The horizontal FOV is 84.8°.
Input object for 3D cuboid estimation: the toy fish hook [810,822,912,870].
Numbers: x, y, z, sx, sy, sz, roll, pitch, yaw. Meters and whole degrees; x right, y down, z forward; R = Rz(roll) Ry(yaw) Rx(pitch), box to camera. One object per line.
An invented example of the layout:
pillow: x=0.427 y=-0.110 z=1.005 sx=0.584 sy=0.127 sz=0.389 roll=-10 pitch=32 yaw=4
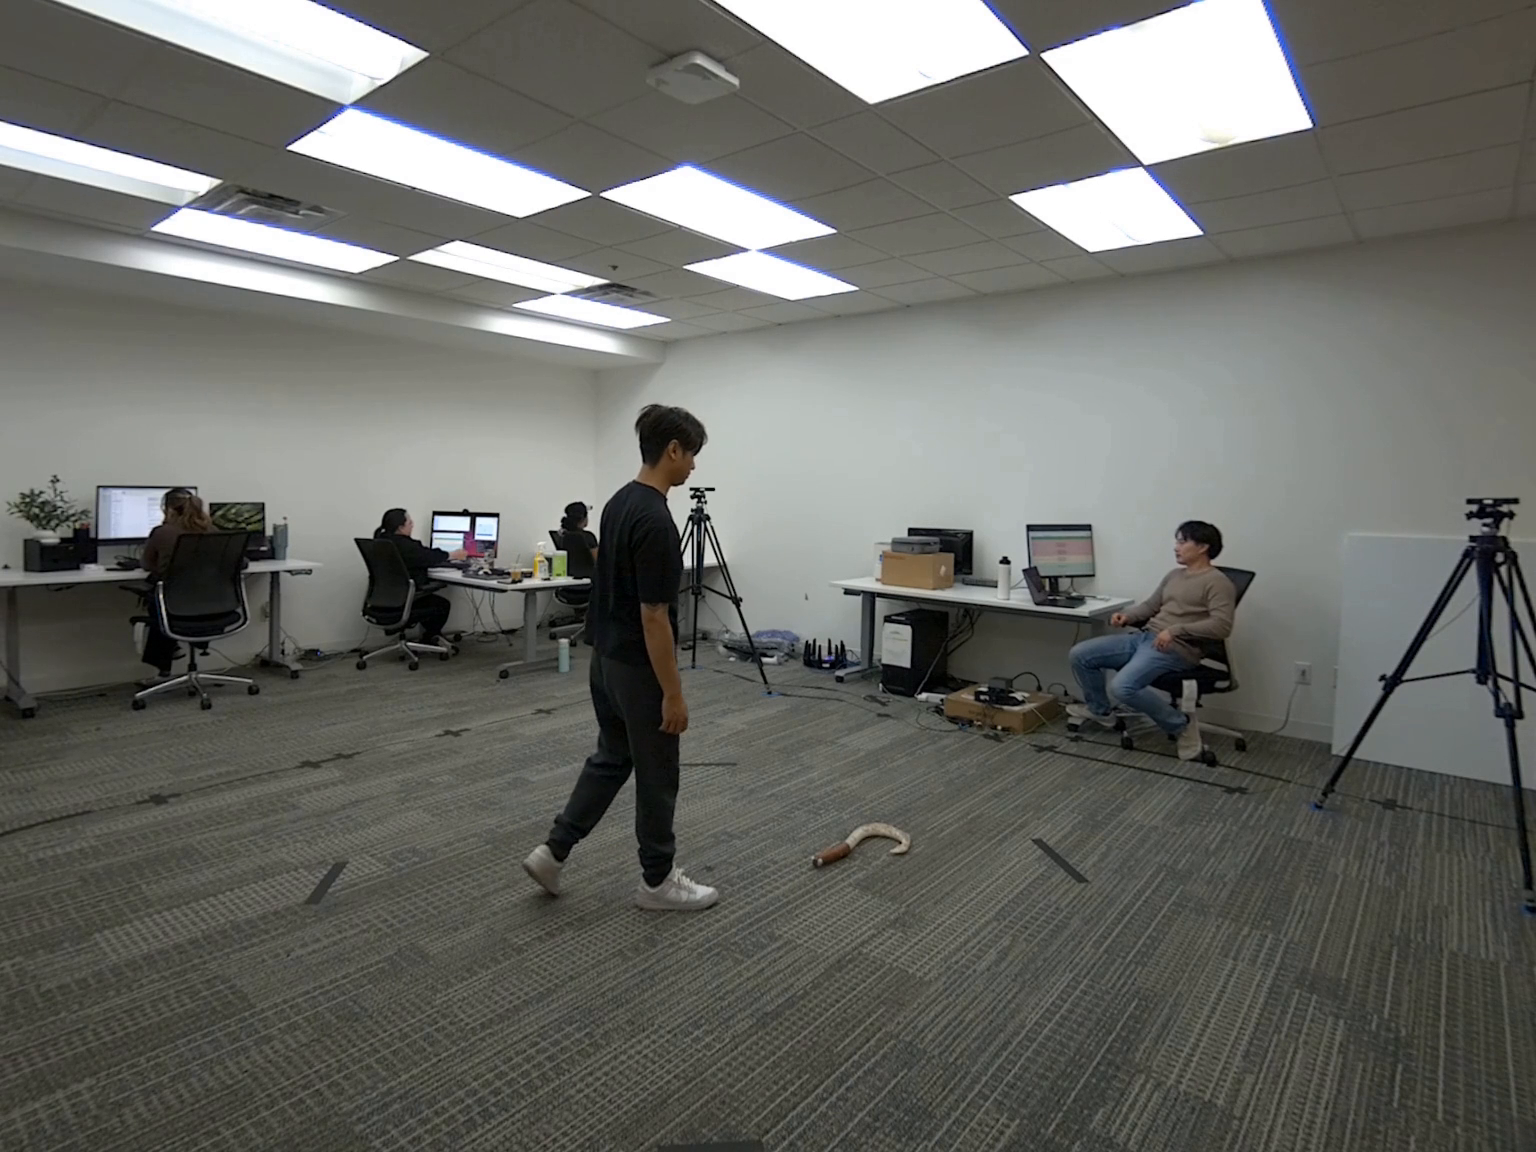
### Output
toy fish hook: x=0.363 y=1.041 z=3.269 sx=0.232 sy=0.048 sz=0.492 roll=5 pitch=7 yaw=42
